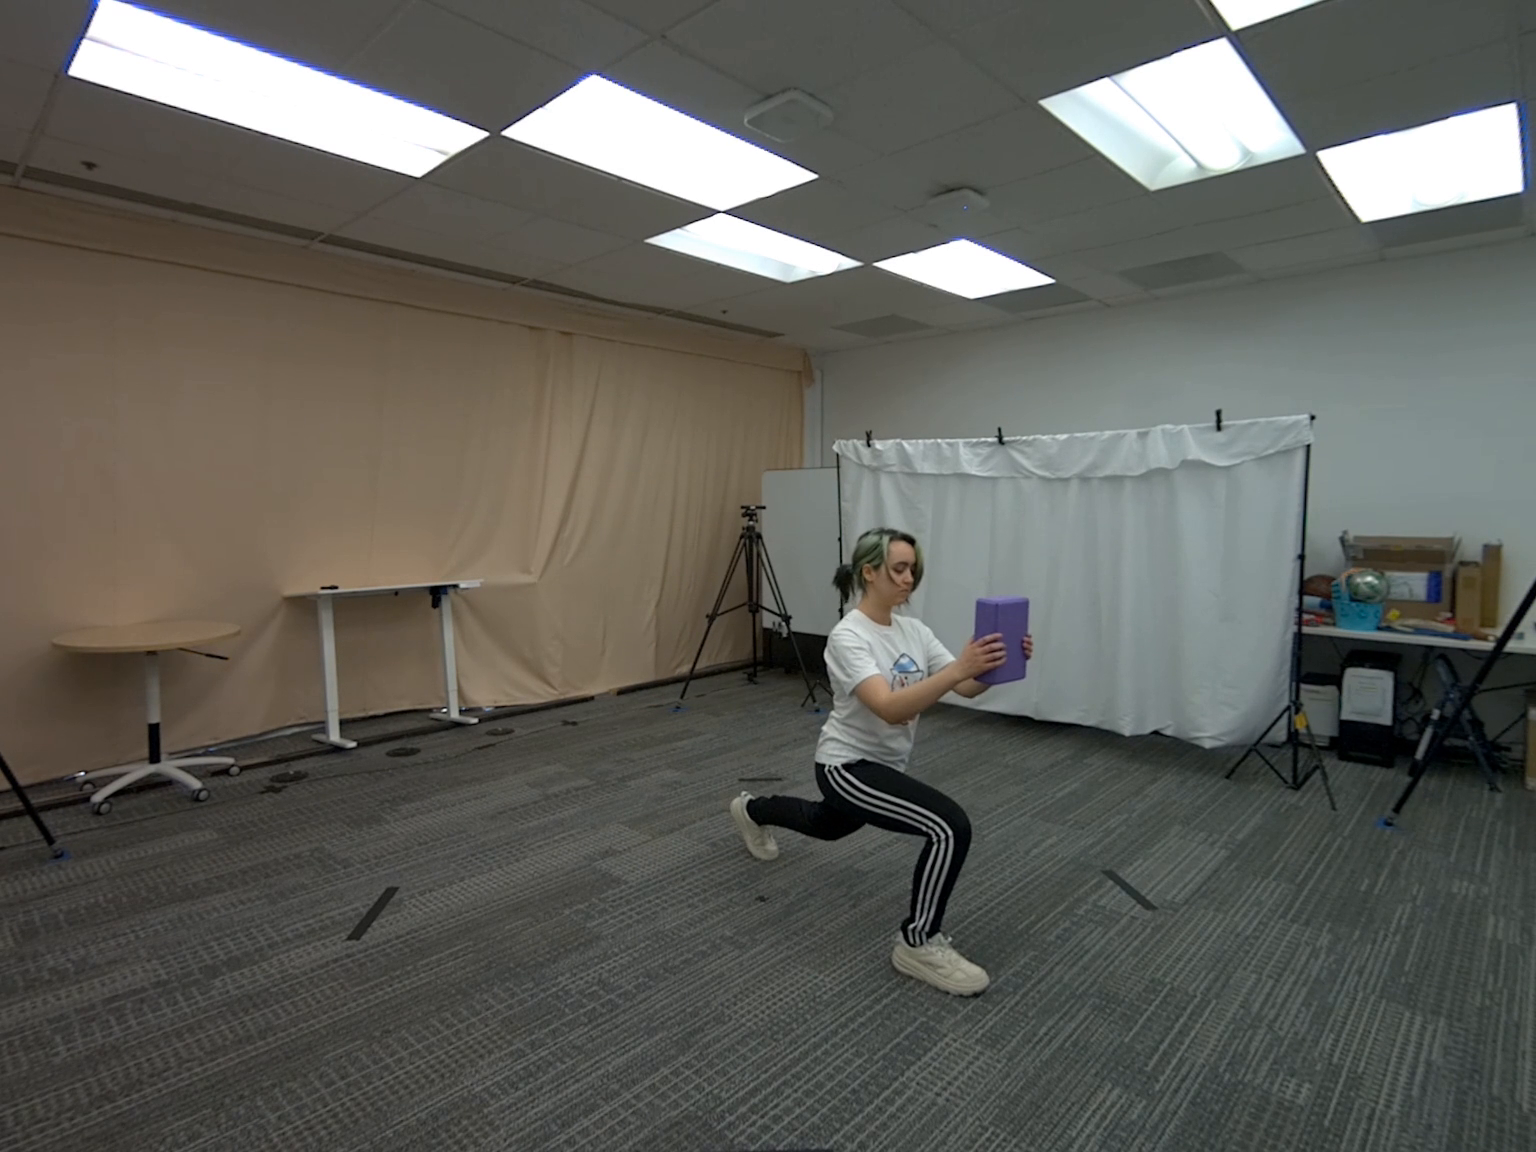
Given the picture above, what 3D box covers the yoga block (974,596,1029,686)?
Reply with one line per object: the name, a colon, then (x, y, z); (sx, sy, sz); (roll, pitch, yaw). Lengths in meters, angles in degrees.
yoga block: (0.643, 0.172, 2.316); (0.145, 0.228, 0.079); (-4, 8, -35)
